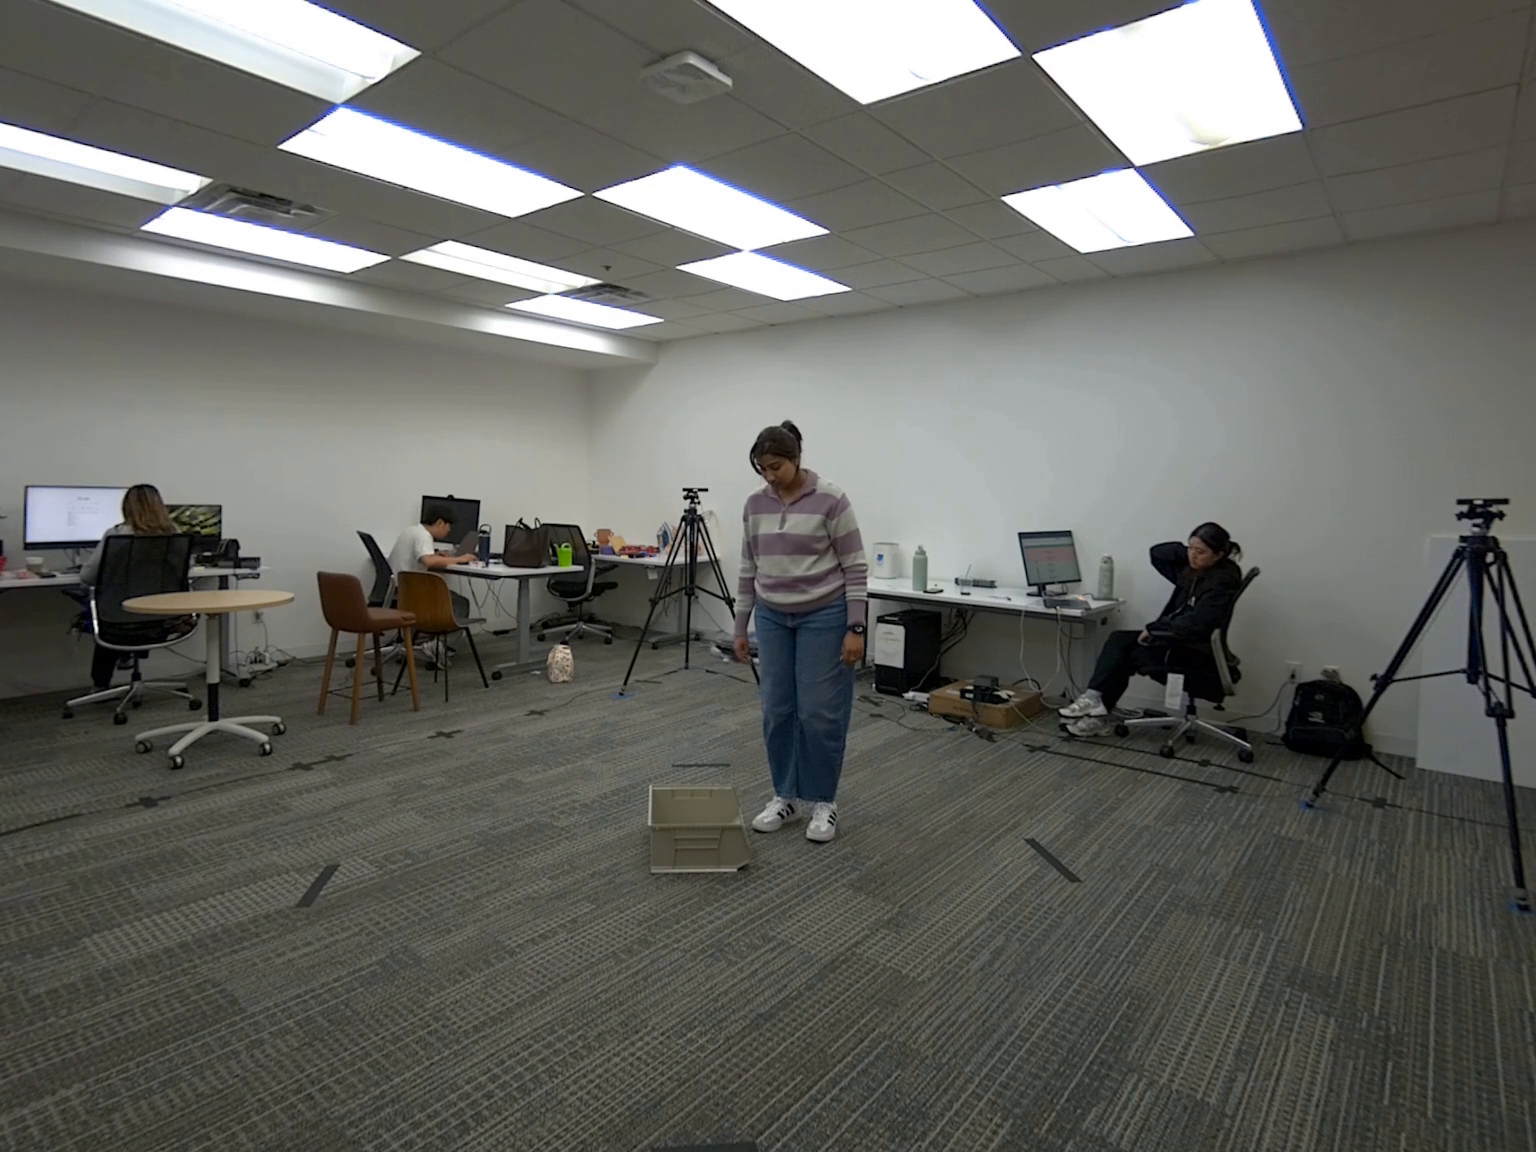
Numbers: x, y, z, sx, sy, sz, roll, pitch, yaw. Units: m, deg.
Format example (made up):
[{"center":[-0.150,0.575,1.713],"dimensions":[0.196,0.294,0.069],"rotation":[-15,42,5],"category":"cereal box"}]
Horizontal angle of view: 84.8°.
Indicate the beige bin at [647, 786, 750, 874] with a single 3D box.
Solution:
[{"center":[-0.283,0.961,3.278],"dimensions":[0.375,0.188,0.427],"rotation":[0,6,-6],"category":"beige bin"}]
